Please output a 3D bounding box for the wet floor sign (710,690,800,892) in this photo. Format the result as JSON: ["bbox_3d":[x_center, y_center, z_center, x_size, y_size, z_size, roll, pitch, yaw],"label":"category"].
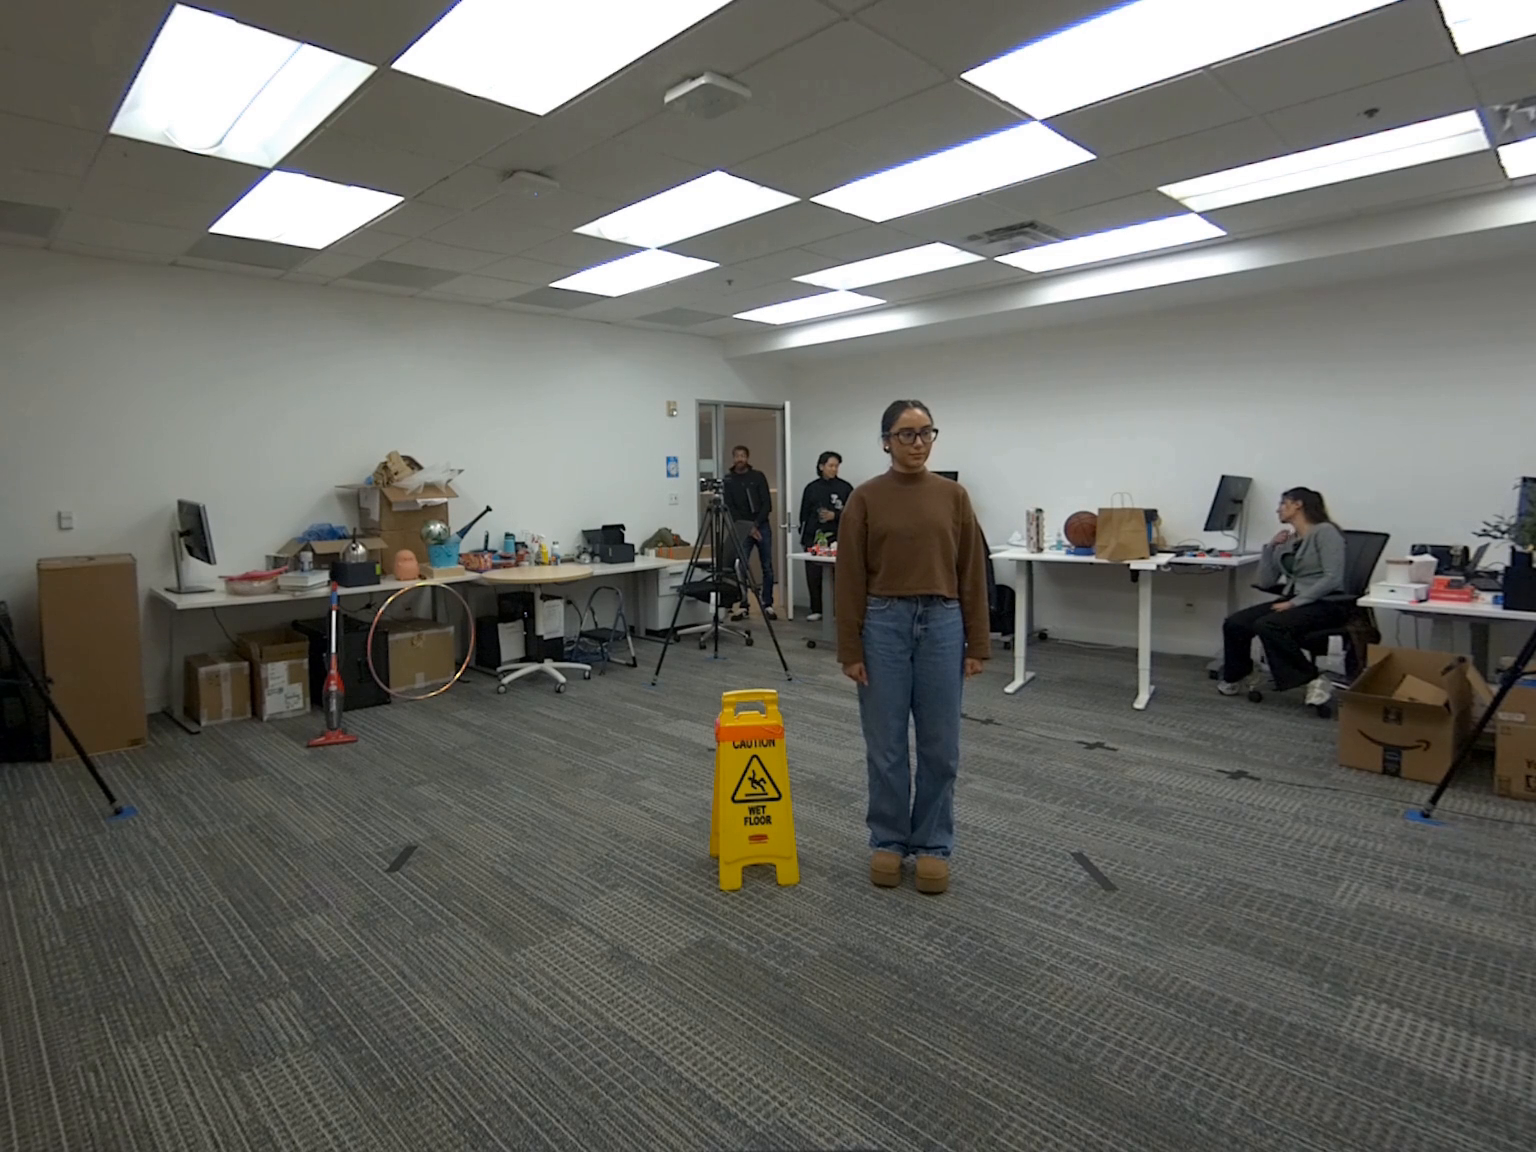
[{"bbox_3d":[-0.057,0.726,3.037,0.280,0.644,0.293,-2,4,-10],"label":"wet floor sign"}]
